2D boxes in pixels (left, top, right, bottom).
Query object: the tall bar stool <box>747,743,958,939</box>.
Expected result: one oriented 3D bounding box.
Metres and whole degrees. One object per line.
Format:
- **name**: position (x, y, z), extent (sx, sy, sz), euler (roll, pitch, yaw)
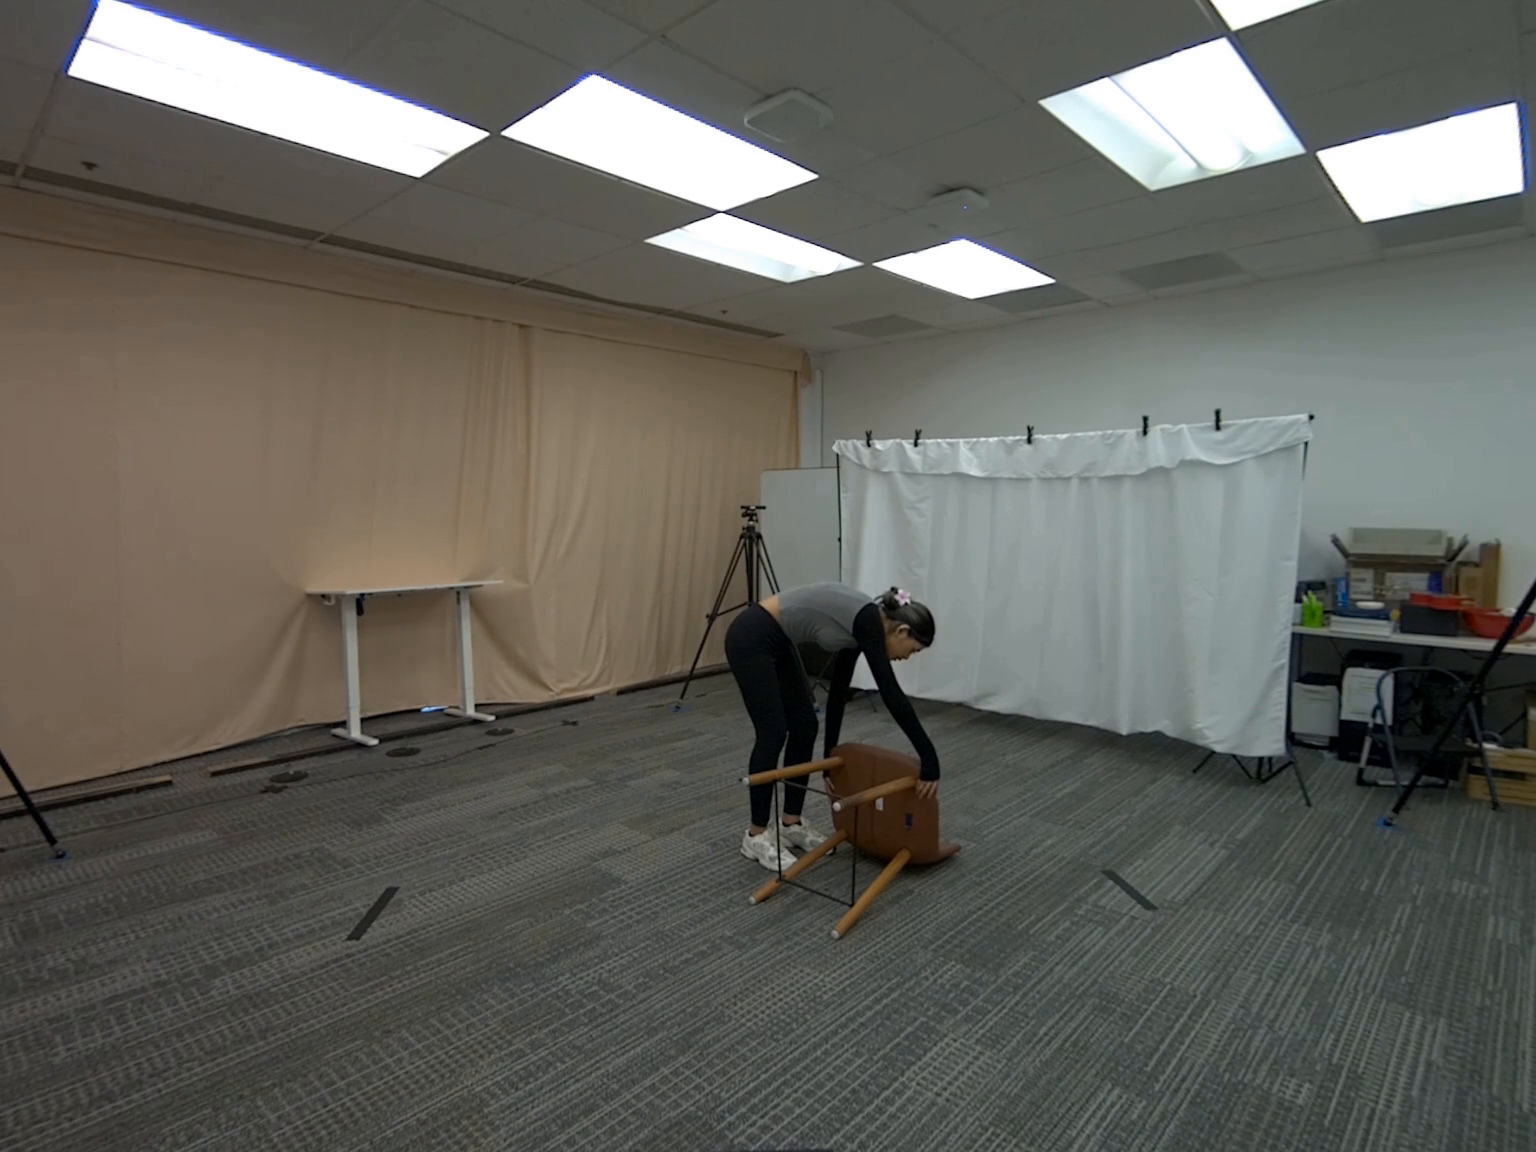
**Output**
- **tall bar stool**: position (0.357, 0.903, 3.123), extent (0.471, 0.466, 0.863), euler (3, 5, 40)
